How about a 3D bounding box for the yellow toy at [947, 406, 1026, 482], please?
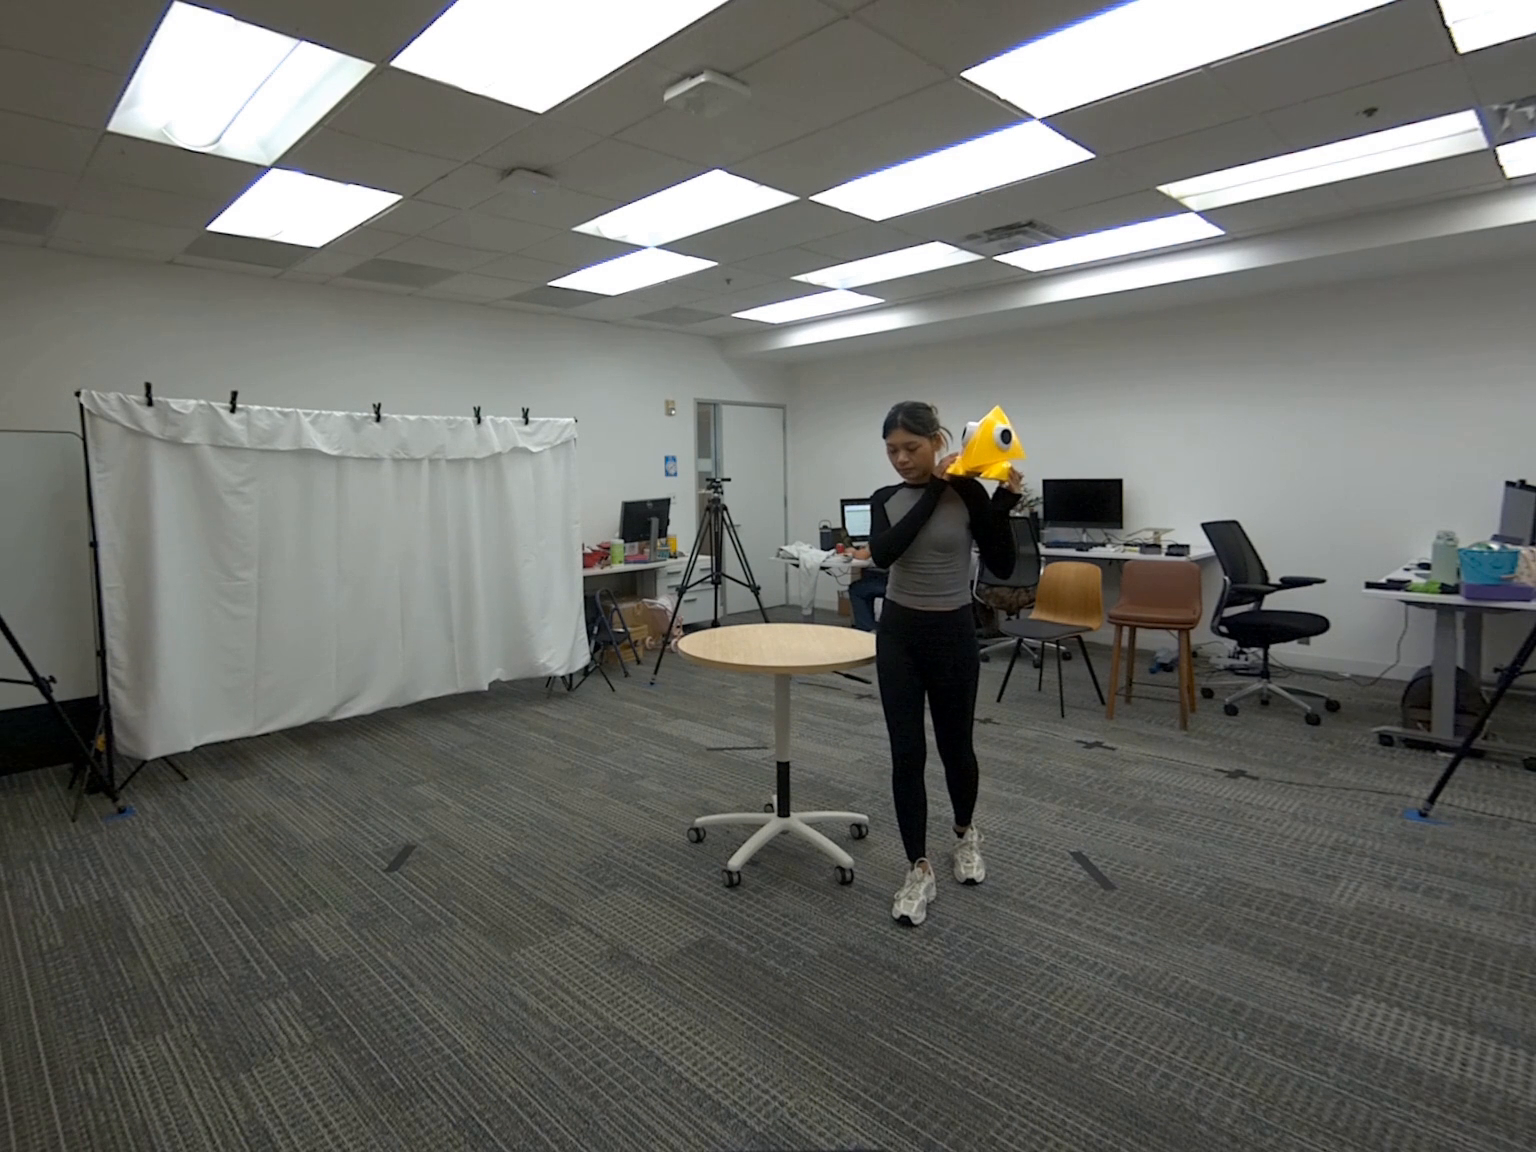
[{"bbox_3d":[0.665,-0.410,2.597,0.211,0.229,0.187,14,8,35],"label":"yellow toy"}]
